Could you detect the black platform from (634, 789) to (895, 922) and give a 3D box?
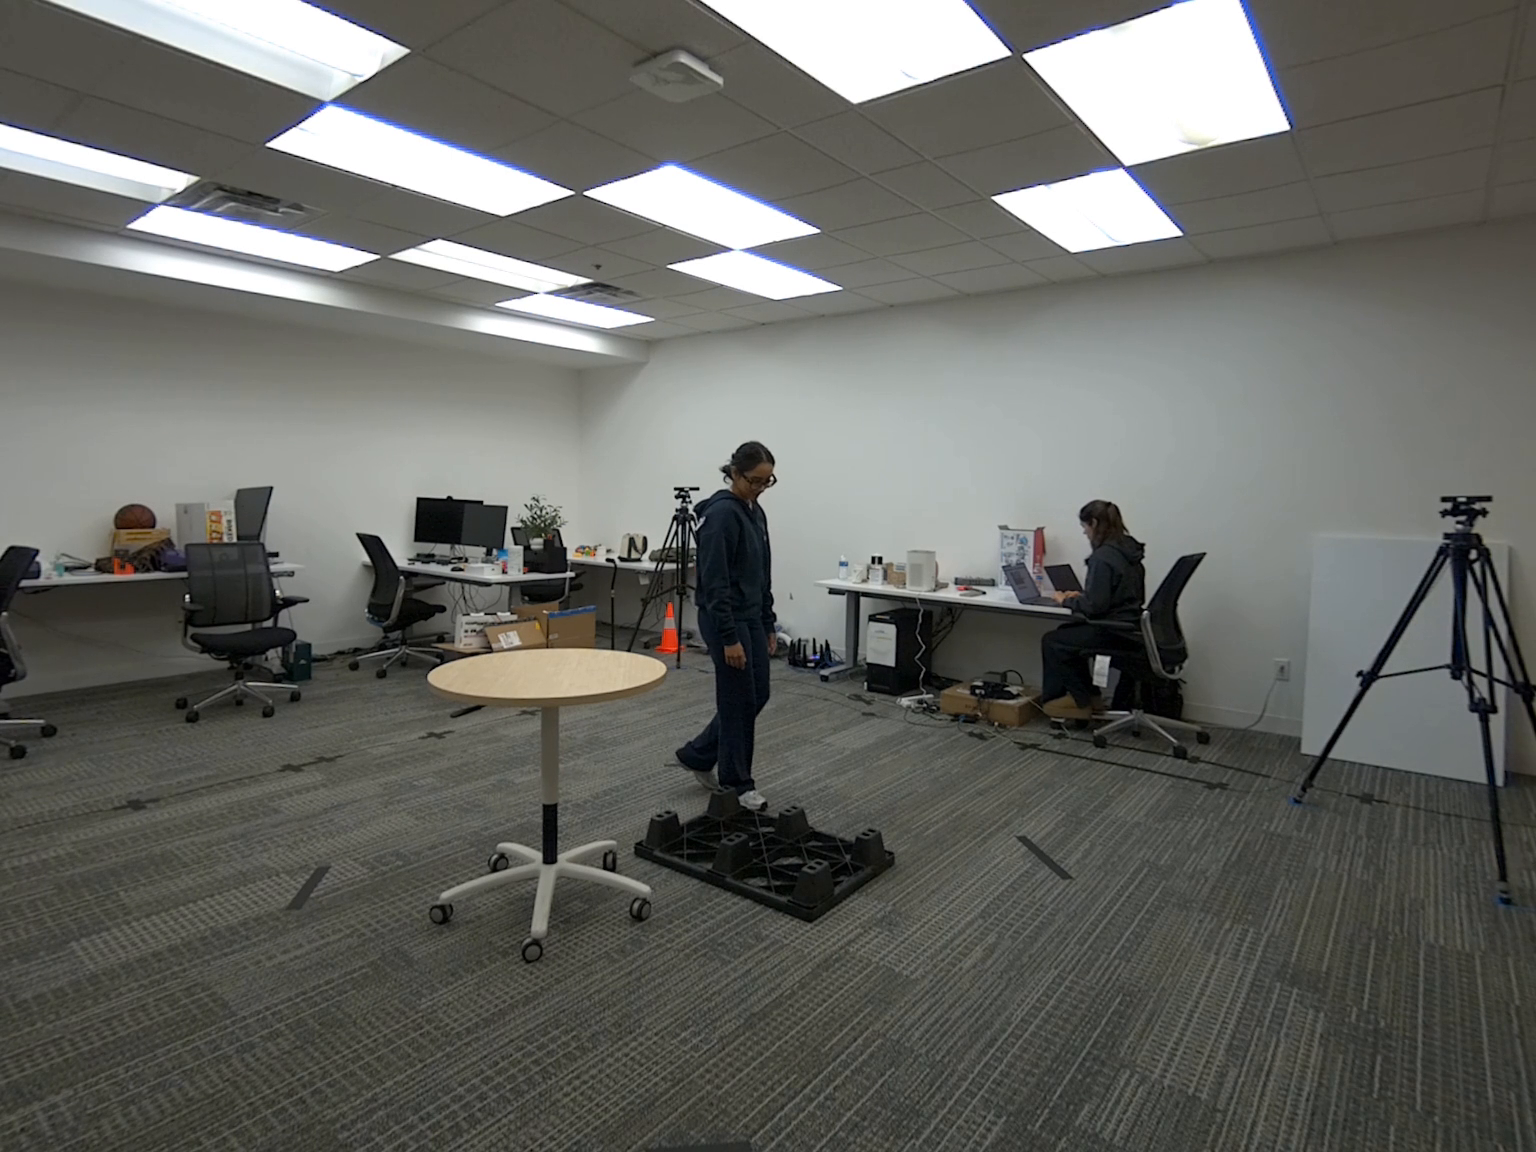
[{"bbox_3d":[-0.032,0.996,3.199,0.832,0.143,0.588,5,6,36],"label":"black platform"}]
